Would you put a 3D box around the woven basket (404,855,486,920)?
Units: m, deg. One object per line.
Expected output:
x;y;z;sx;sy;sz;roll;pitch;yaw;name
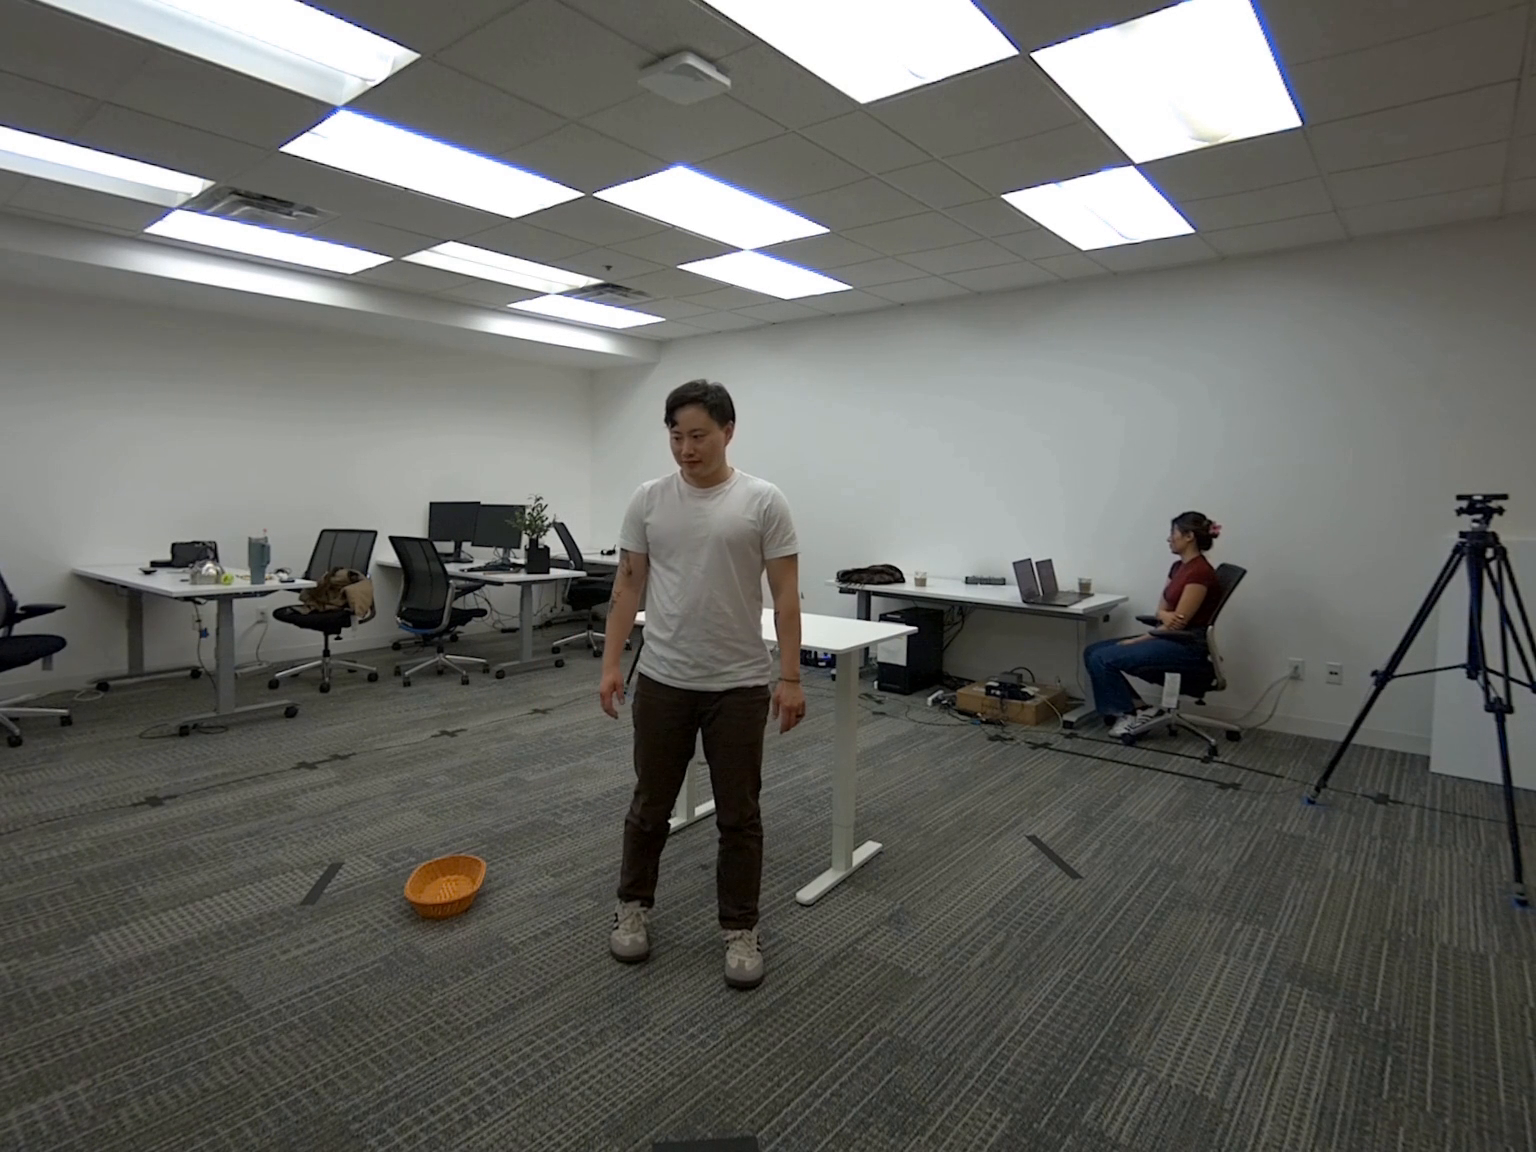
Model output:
-1.090;1.042;2.856;0.251;0.073;0.354;-1;6;-5;woven basket
